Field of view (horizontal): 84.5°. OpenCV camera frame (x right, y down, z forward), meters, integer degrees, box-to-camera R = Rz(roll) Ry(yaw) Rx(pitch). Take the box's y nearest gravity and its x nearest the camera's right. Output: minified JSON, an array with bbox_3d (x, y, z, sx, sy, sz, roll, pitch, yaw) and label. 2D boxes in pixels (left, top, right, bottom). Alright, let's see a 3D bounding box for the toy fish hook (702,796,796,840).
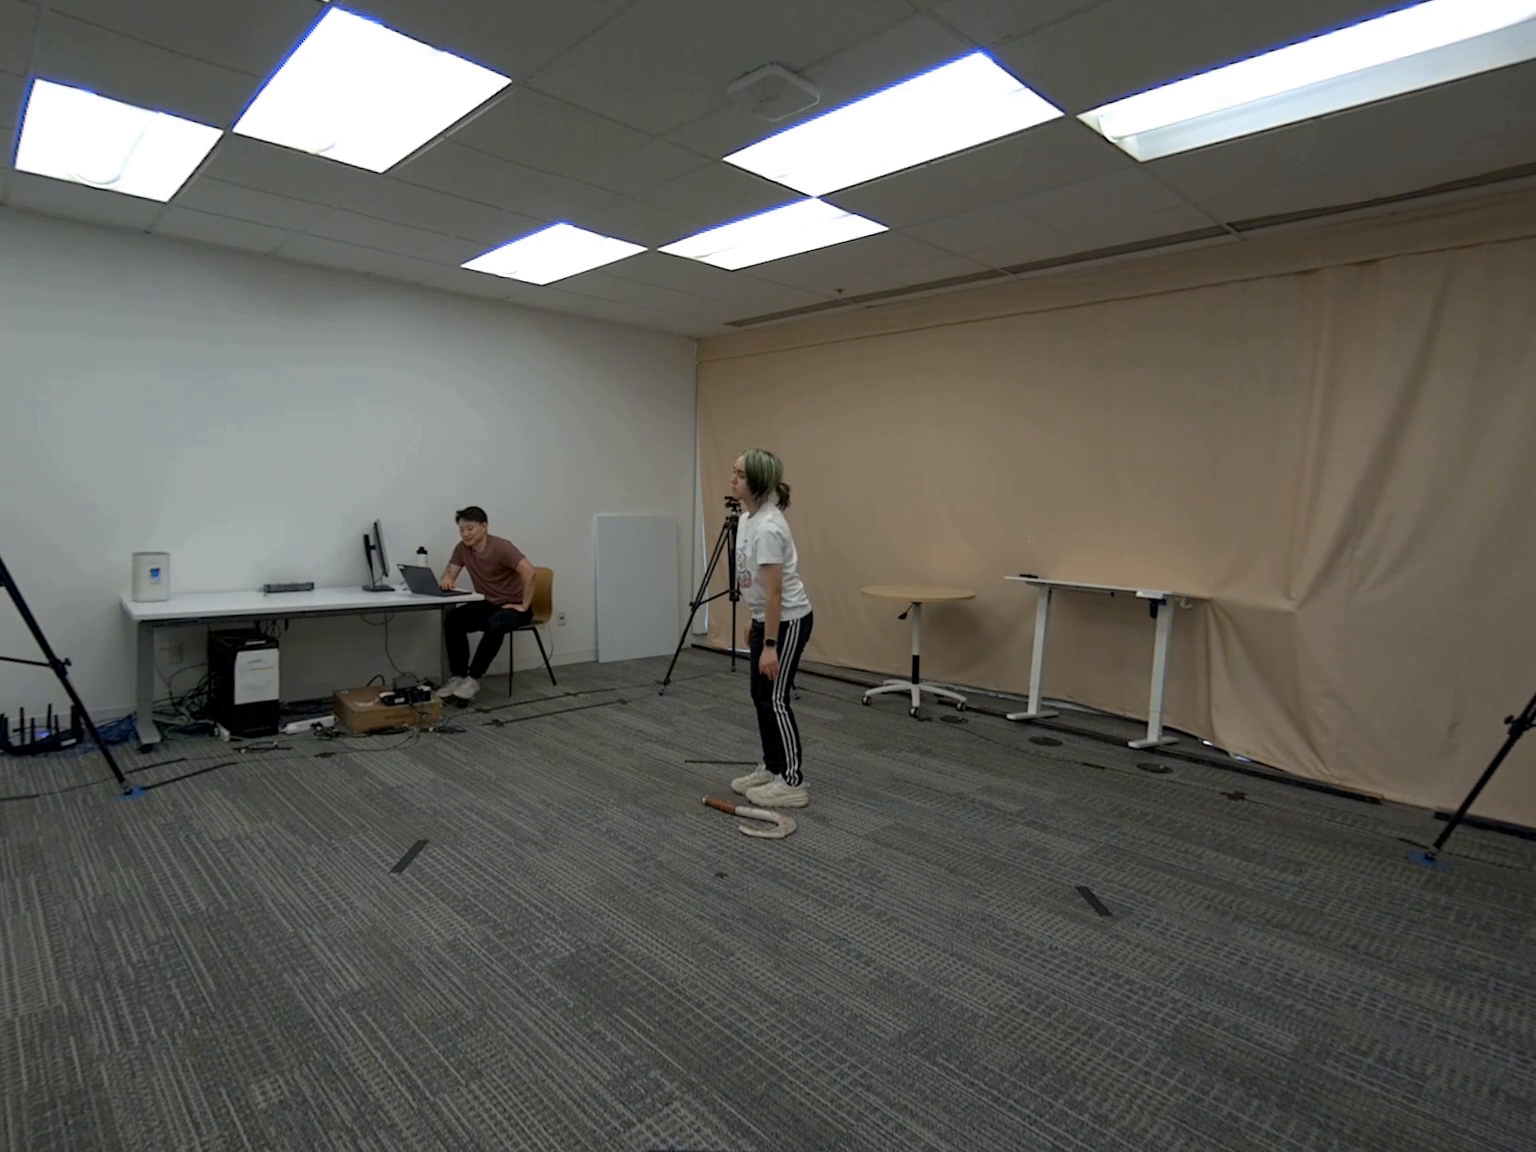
[{"bbox_3d":[-0.126,1.037,3.632,0.519,0.048,0.219,5,4,36],"label":"toy fish hook"}]
